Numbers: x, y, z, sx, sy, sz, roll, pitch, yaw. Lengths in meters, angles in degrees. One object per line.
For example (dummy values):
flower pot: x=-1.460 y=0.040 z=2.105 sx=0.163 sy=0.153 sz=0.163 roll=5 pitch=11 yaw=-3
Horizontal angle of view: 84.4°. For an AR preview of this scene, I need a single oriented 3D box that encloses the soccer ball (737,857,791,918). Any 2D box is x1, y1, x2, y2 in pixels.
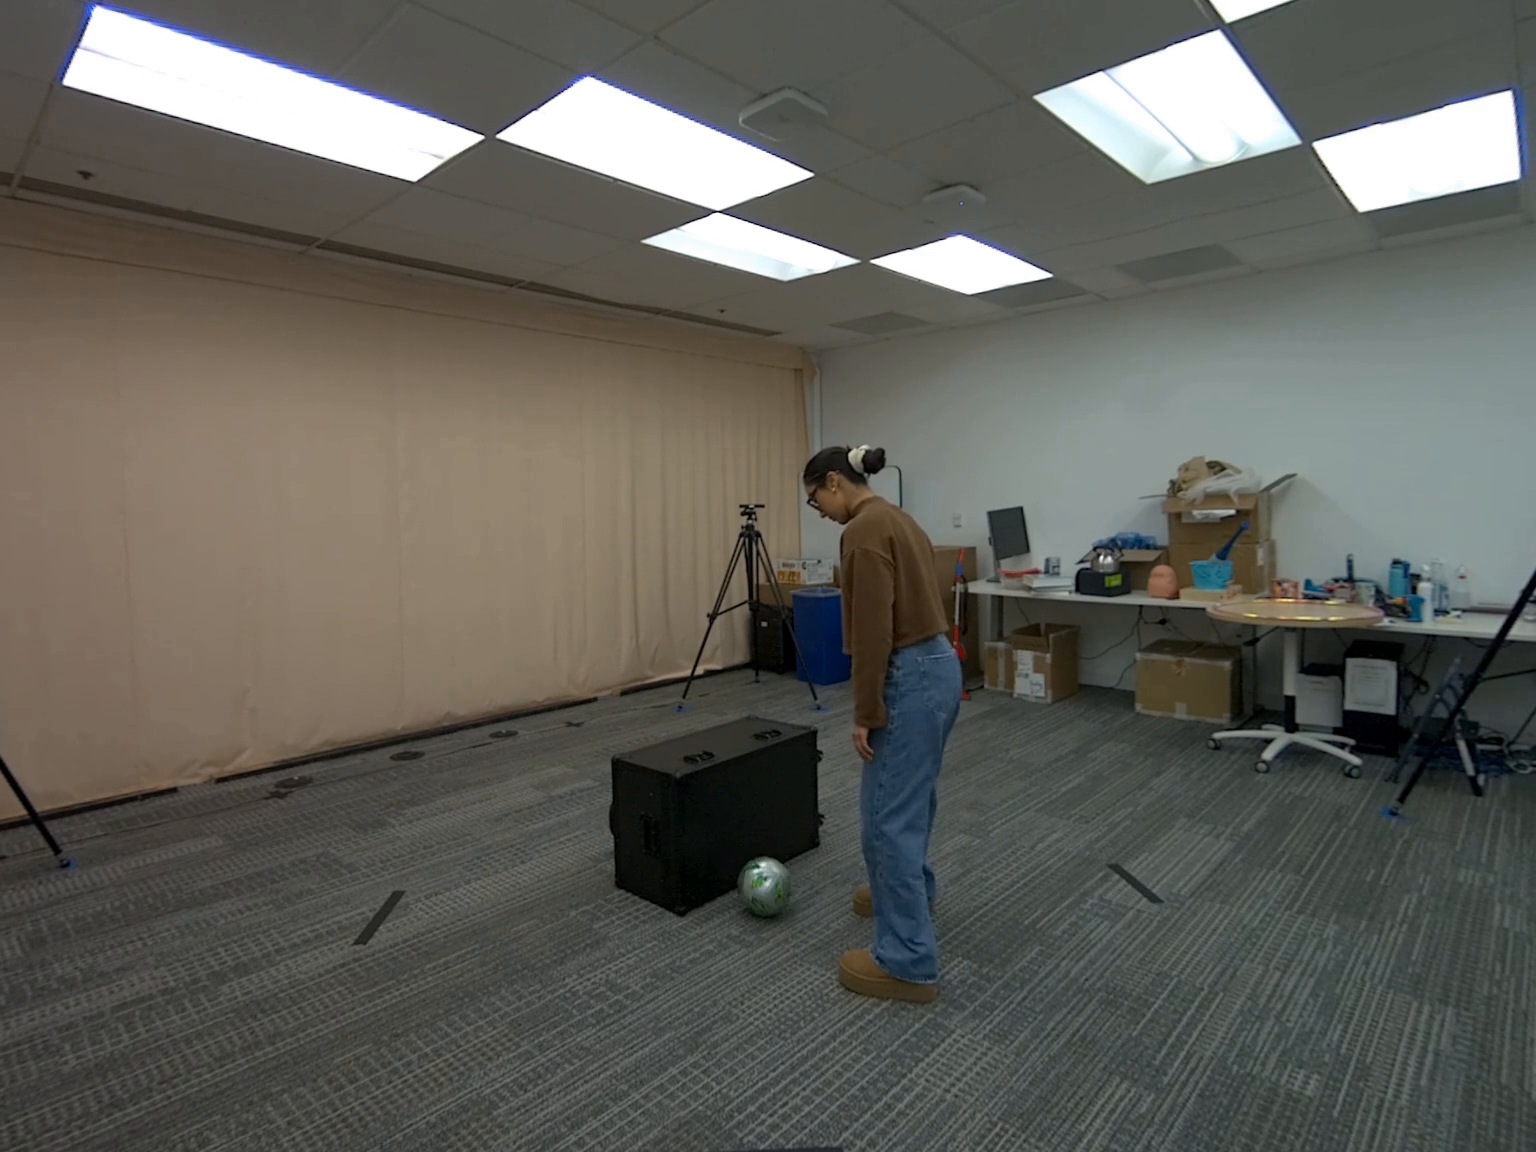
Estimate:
soccer ball: x=-0.010 y=1.051 z=2.857 sx=0.187 sy=0.187 sz=0.188 roll=-1 pitch=4 yaw=-2
